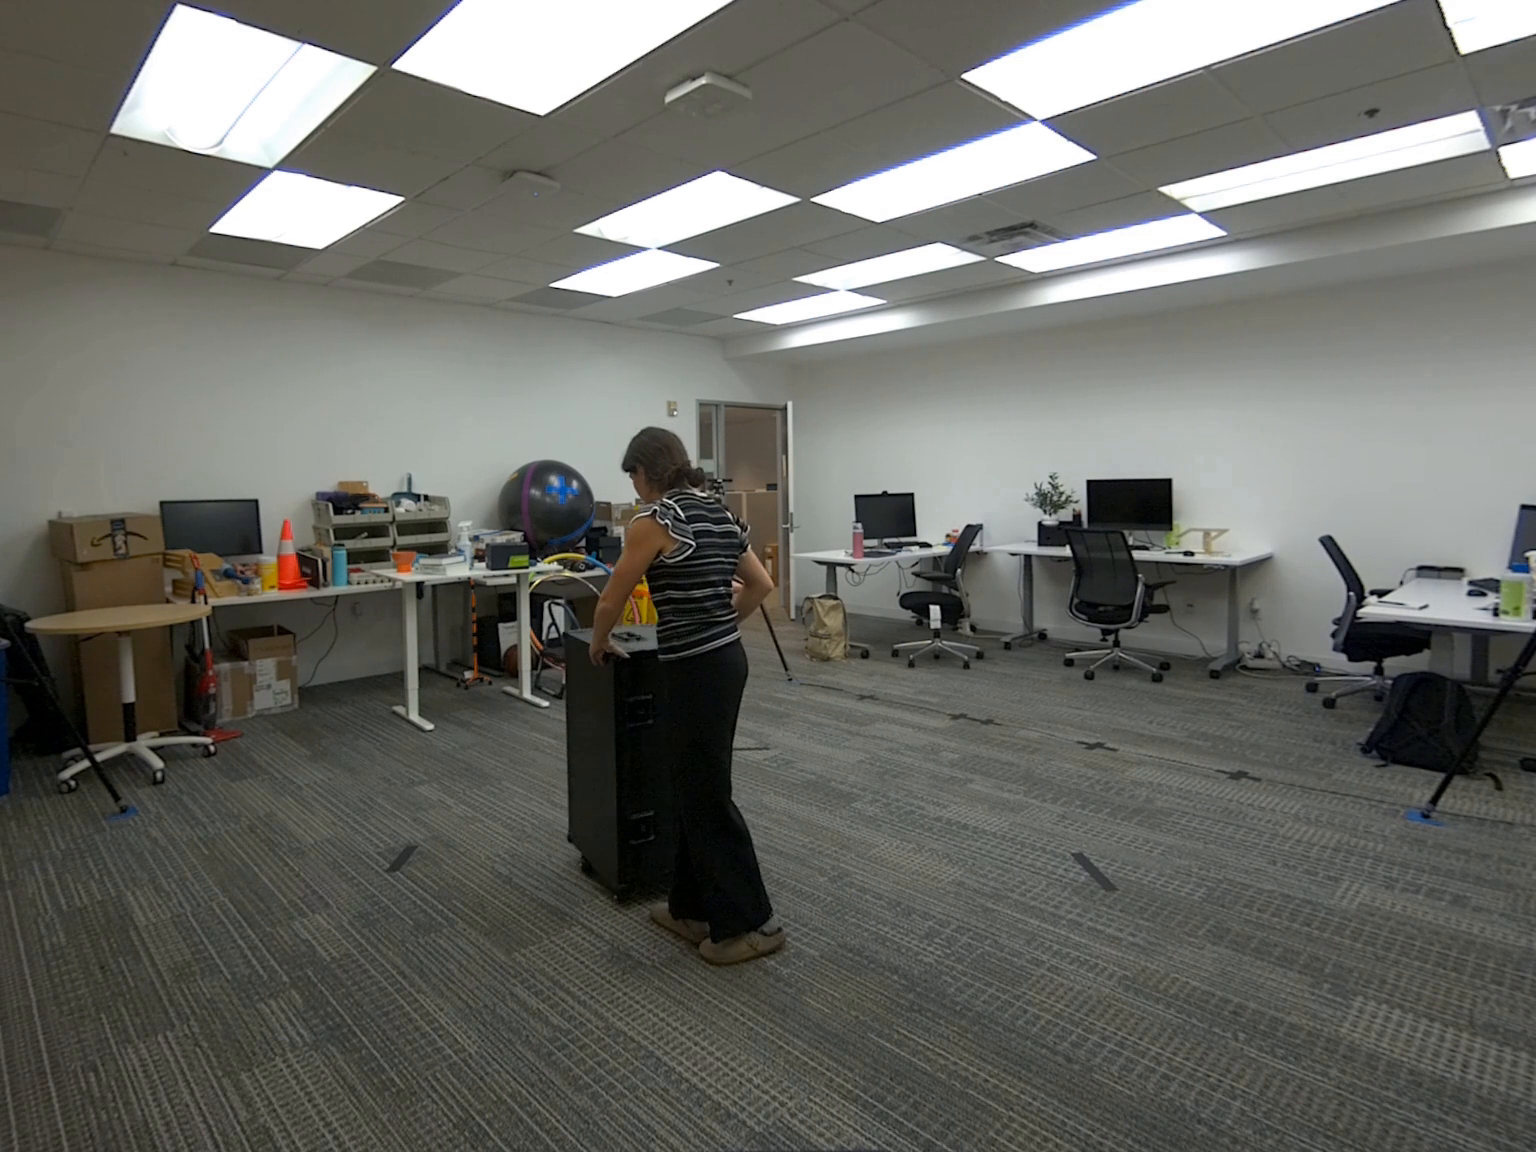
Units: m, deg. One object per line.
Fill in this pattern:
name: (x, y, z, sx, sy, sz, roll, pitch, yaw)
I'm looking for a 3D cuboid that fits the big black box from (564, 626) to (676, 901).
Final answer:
big black box: (-0.462, 0.637, 3.032, 0.386, 0.859, 0.536, -2, 4, -32)
